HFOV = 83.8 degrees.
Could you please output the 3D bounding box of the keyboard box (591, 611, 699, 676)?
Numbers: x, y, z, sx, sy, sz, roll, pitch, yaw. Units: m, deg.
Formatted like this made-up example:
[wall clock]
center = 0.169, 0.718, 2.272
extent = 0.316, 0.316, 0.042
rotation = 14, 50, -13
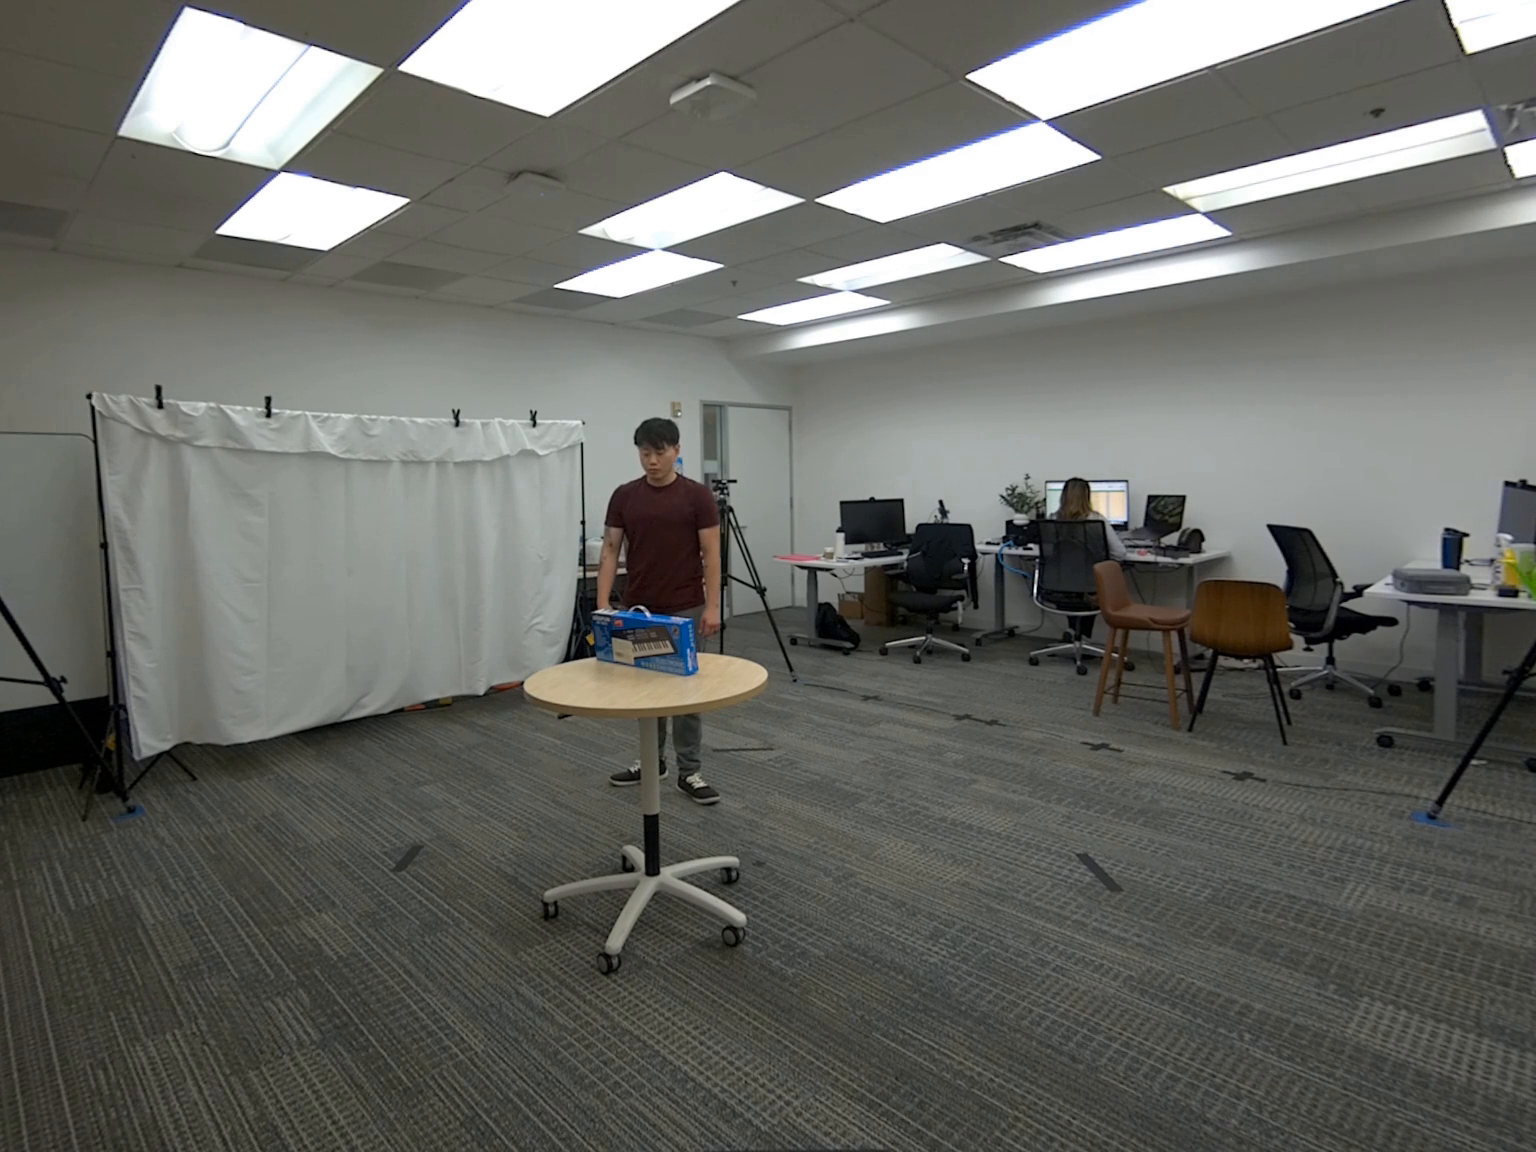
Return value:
[keyboard box]
center = -0.427, 0.220, 2.842
extent = 0.450, 0.174, 0.058
rotation = 3, 12, 40
